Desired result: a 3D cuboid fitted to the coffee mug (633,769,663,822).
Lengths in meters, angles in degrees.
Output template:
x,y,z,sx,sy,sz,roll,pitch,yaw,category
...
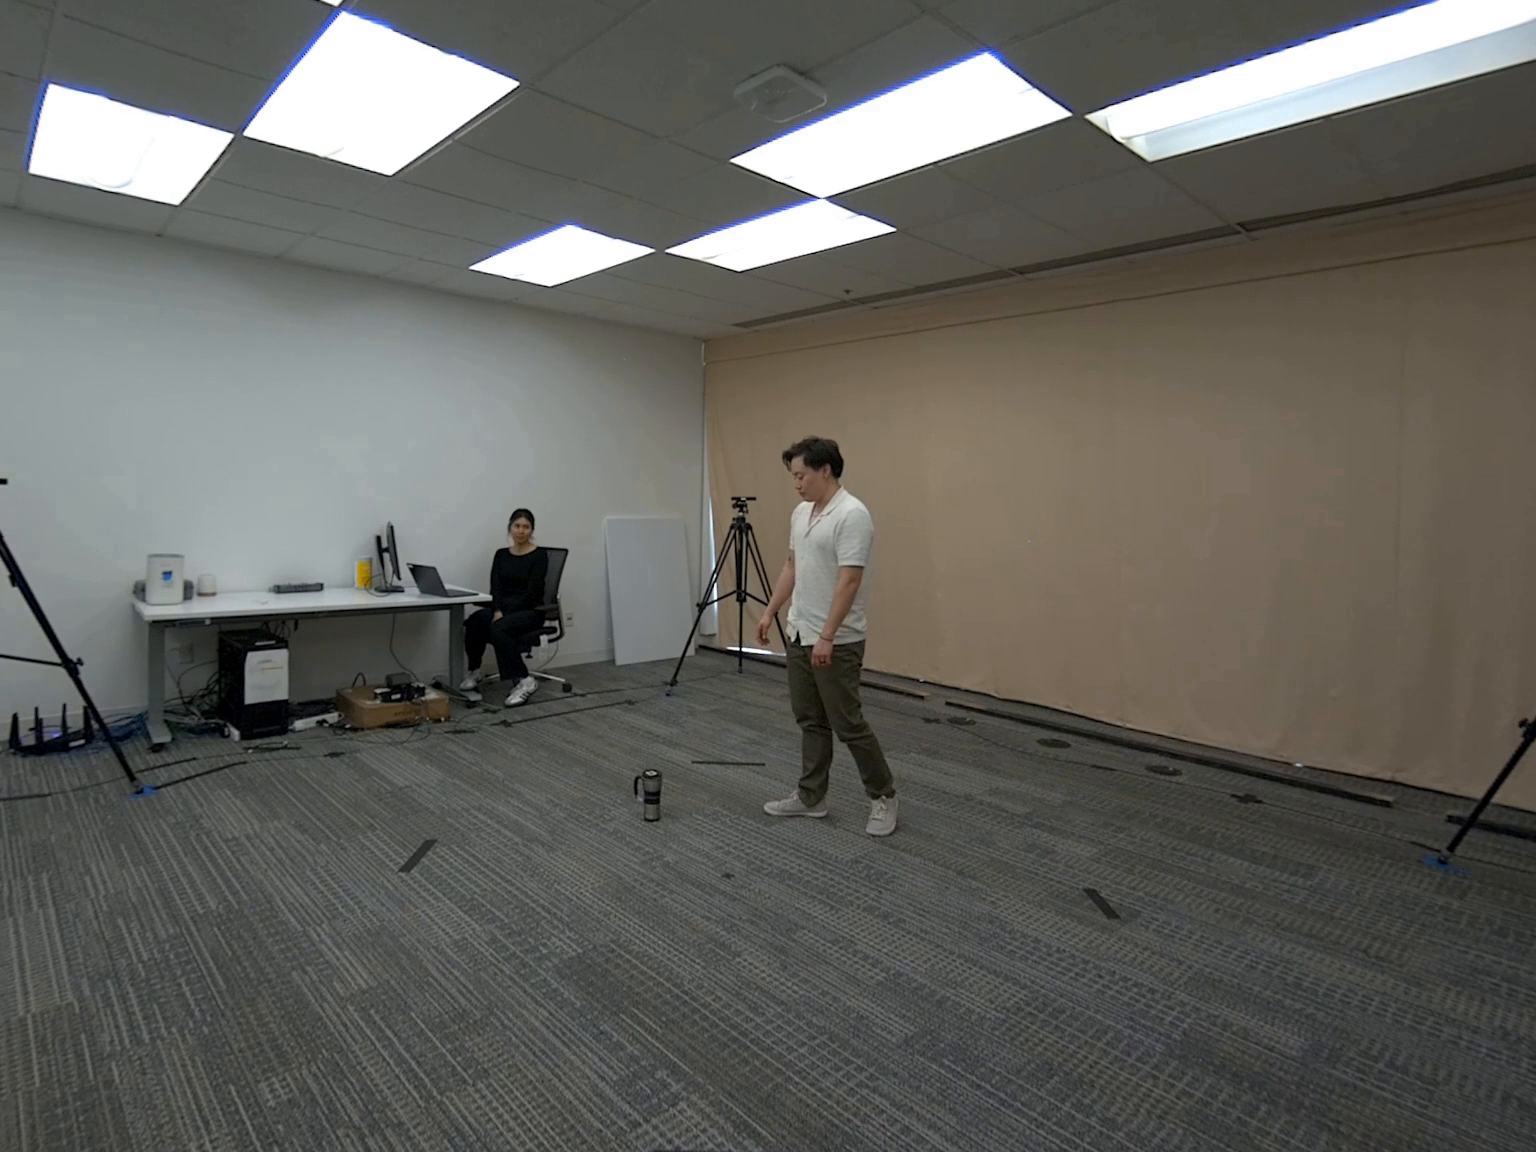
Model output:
x,y,z,sx,sy,sz,roll,pitch,yaw,category
-0.526,0.950,3.652,0.125,0.202,0.086,8,8,39,coffee mug
